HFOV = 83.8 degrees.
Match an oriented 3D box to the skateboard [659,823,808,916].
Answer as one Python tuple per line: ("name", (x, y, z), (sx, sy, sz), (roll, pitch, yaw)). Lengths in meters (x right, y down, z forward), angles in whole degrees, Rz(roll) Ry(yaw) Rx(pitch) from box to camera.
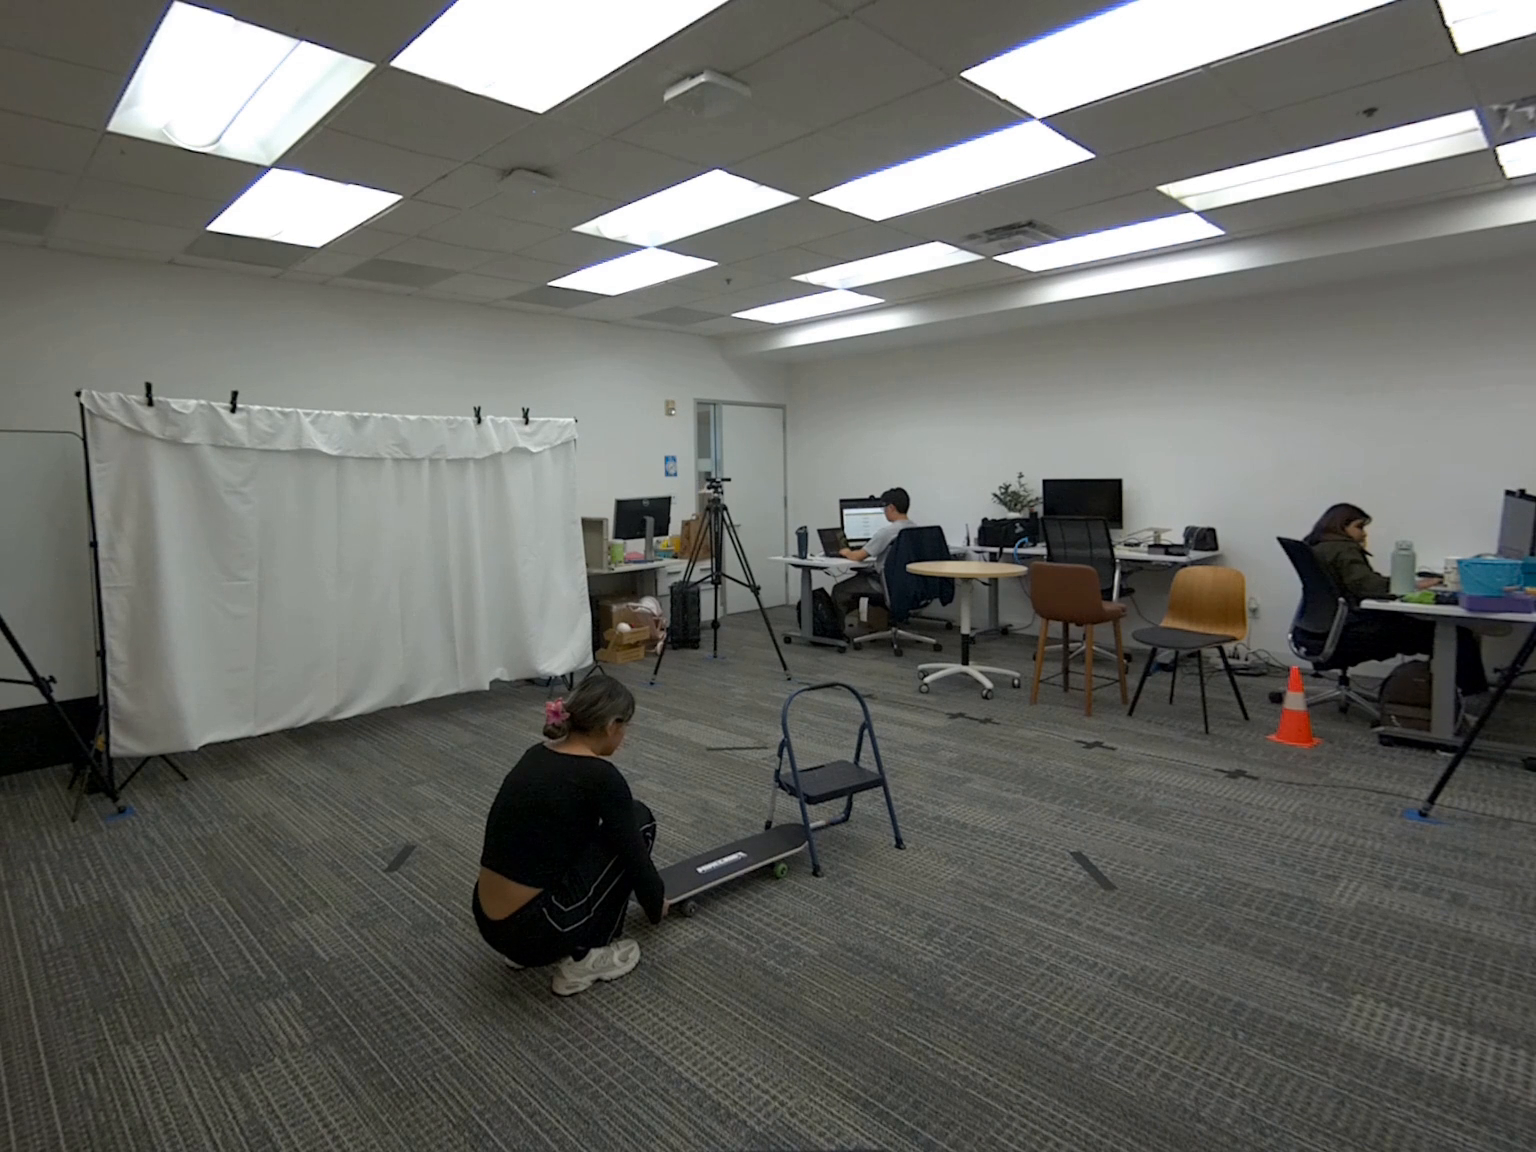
("skateboard", (-0.153, 1.008, 2.922), (0.765, 0.110, 0.199), (-7, 8, -40))
